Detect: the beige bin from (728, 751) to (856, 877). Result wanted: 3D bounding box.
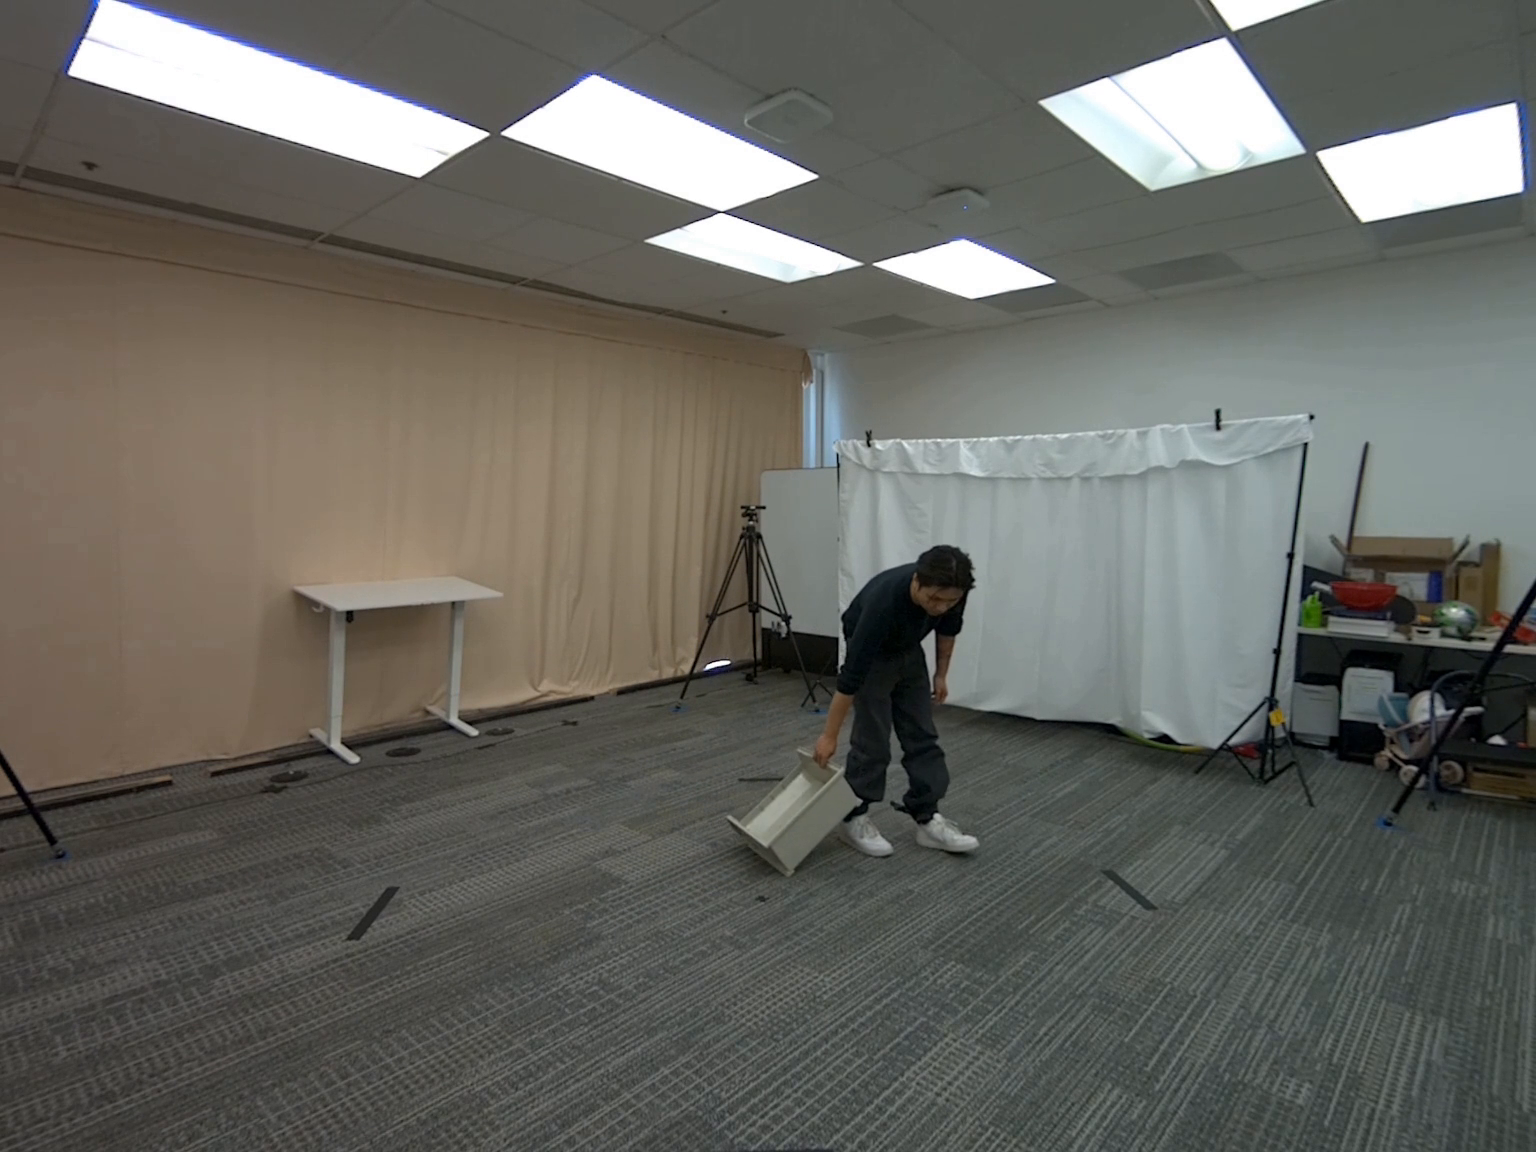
[{"bbox_3d":[0.092,0.921,3.343,0.419,0.185,0.388,-39,22,-19],"label":"beige bin"}]
